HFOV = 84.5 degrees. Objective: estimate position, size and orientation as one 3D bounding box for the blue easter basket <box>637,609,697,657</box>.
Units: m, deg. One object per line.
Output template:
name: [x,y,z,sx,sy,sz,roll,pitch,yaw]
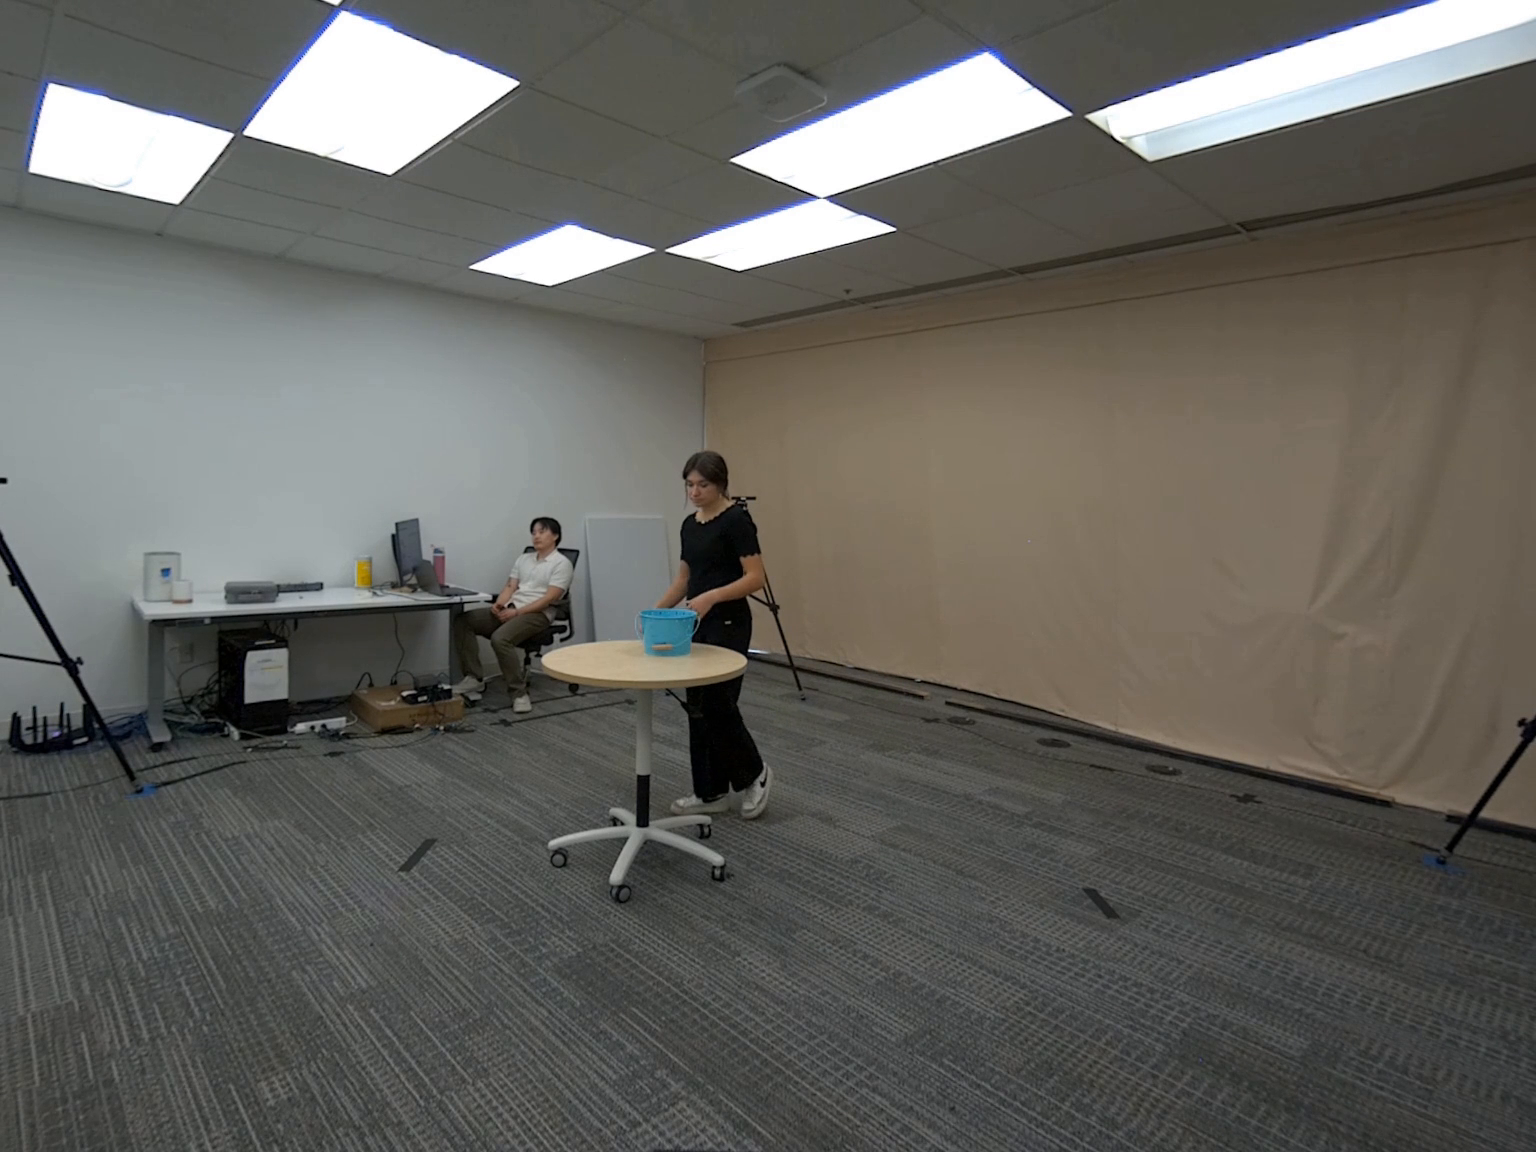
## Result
blue easter basket: [-0.419,0.226,3.310,0.243,0.155,0.244,2,4,-1]
